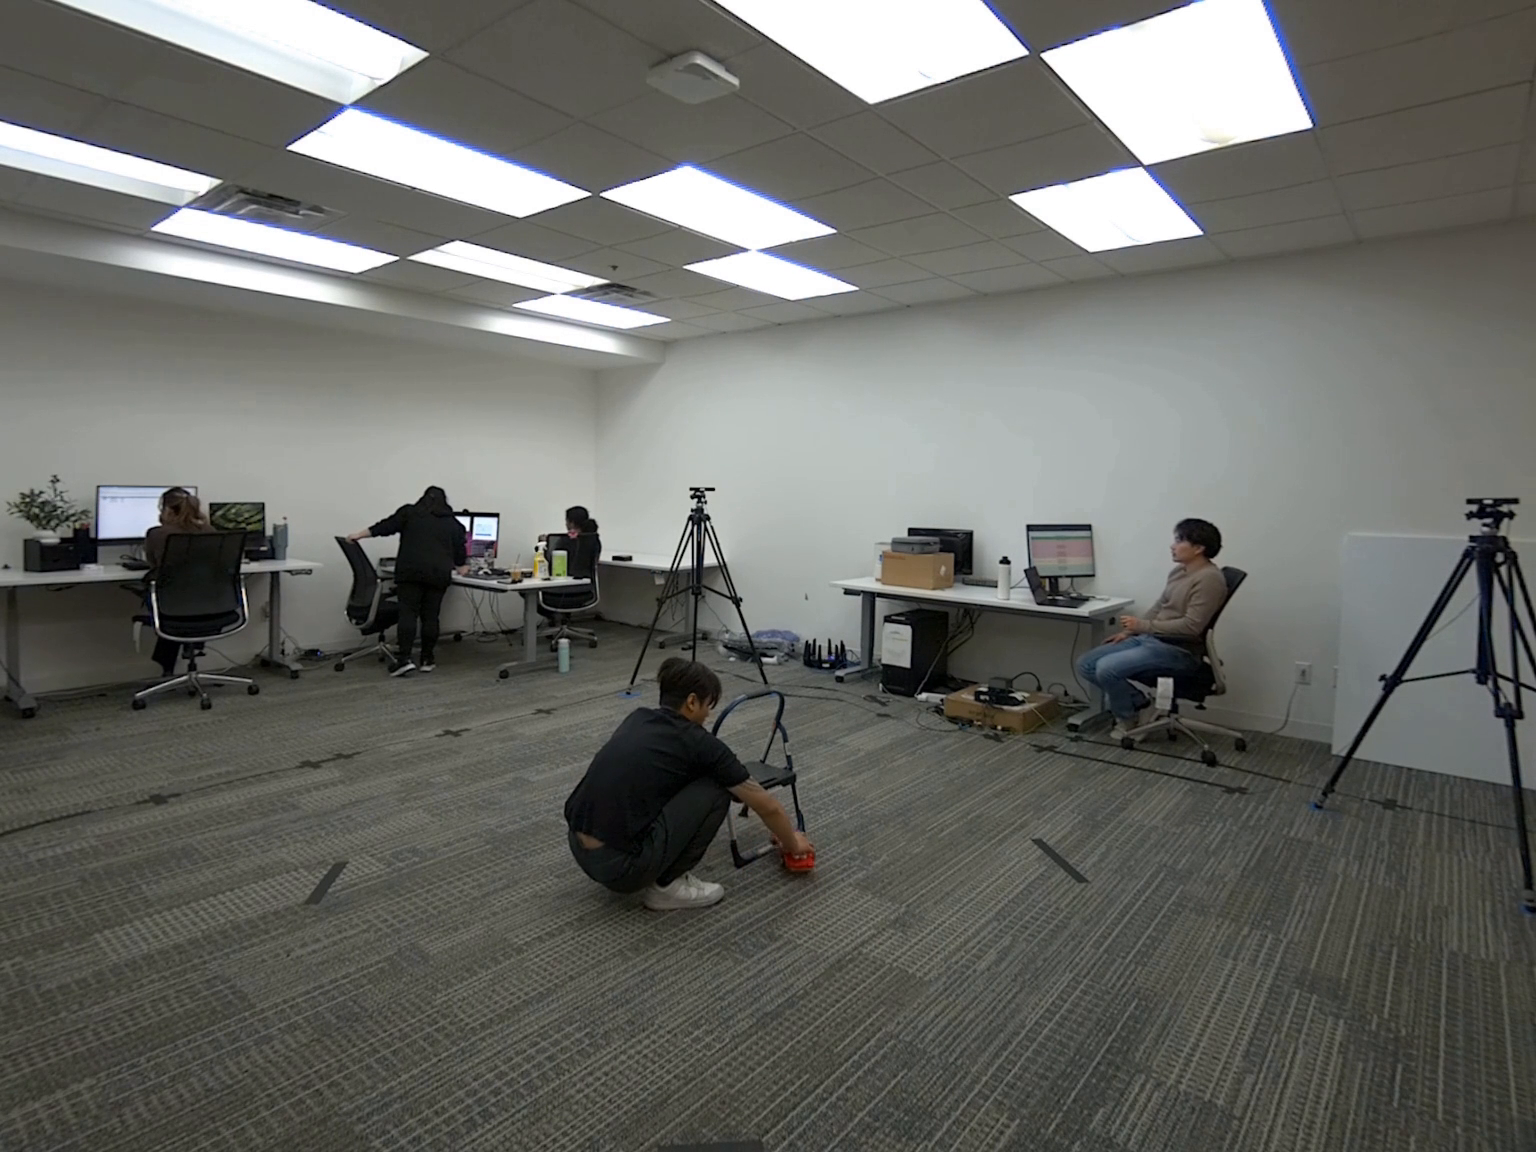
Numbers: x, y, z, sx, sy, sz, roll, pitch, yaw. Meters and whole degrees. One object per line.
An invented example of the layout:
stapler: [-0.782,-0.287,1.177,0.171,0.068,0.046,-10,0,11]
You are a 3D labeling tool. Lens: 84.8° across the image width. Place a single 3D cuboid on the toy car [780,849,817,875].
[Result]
toy car: [0.084,1.031,3.121,0.128,0.082,0.260,1,9,-16]
